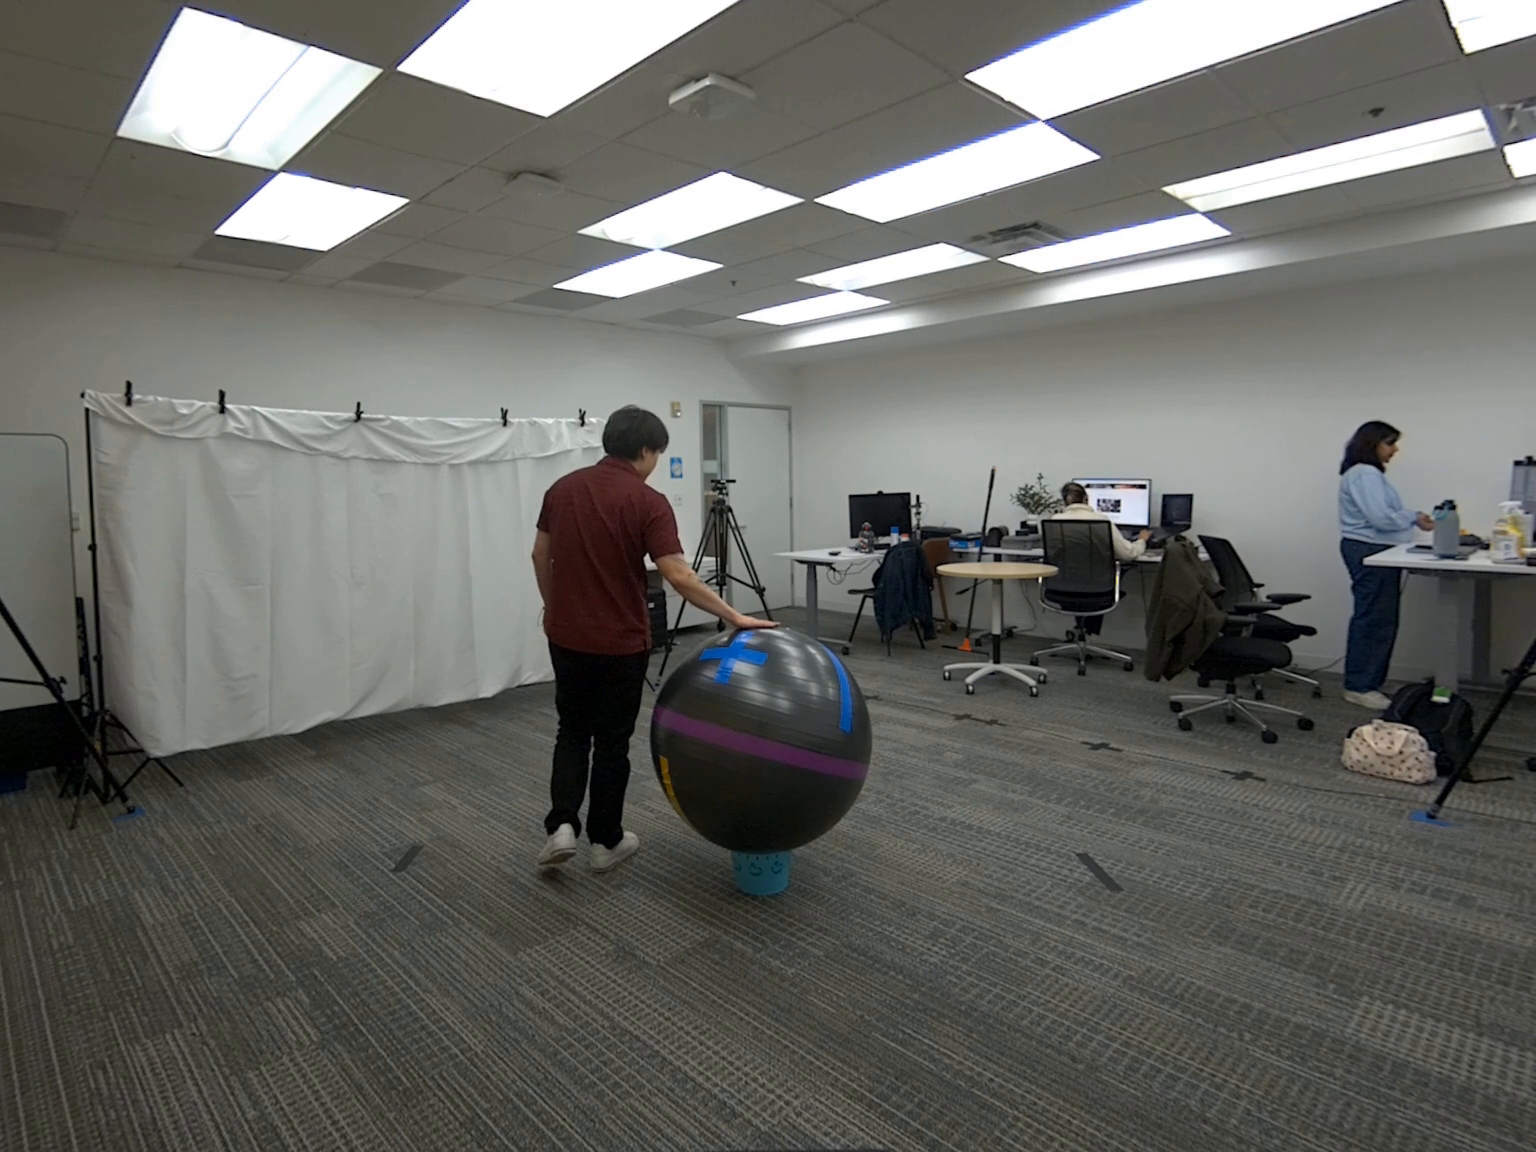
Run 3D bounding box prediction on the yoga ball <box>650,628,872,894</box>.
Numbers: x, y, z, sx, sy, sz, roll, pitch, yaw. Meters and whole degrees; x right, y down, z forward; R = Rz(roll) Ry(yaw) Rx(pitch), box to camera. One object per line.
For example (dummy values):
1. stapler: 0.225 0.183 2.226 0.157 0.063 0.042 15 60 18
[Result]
1. yoga ball: -0.021 0.554 2.945 0.757 0.755 0.762 -1 5 -2
